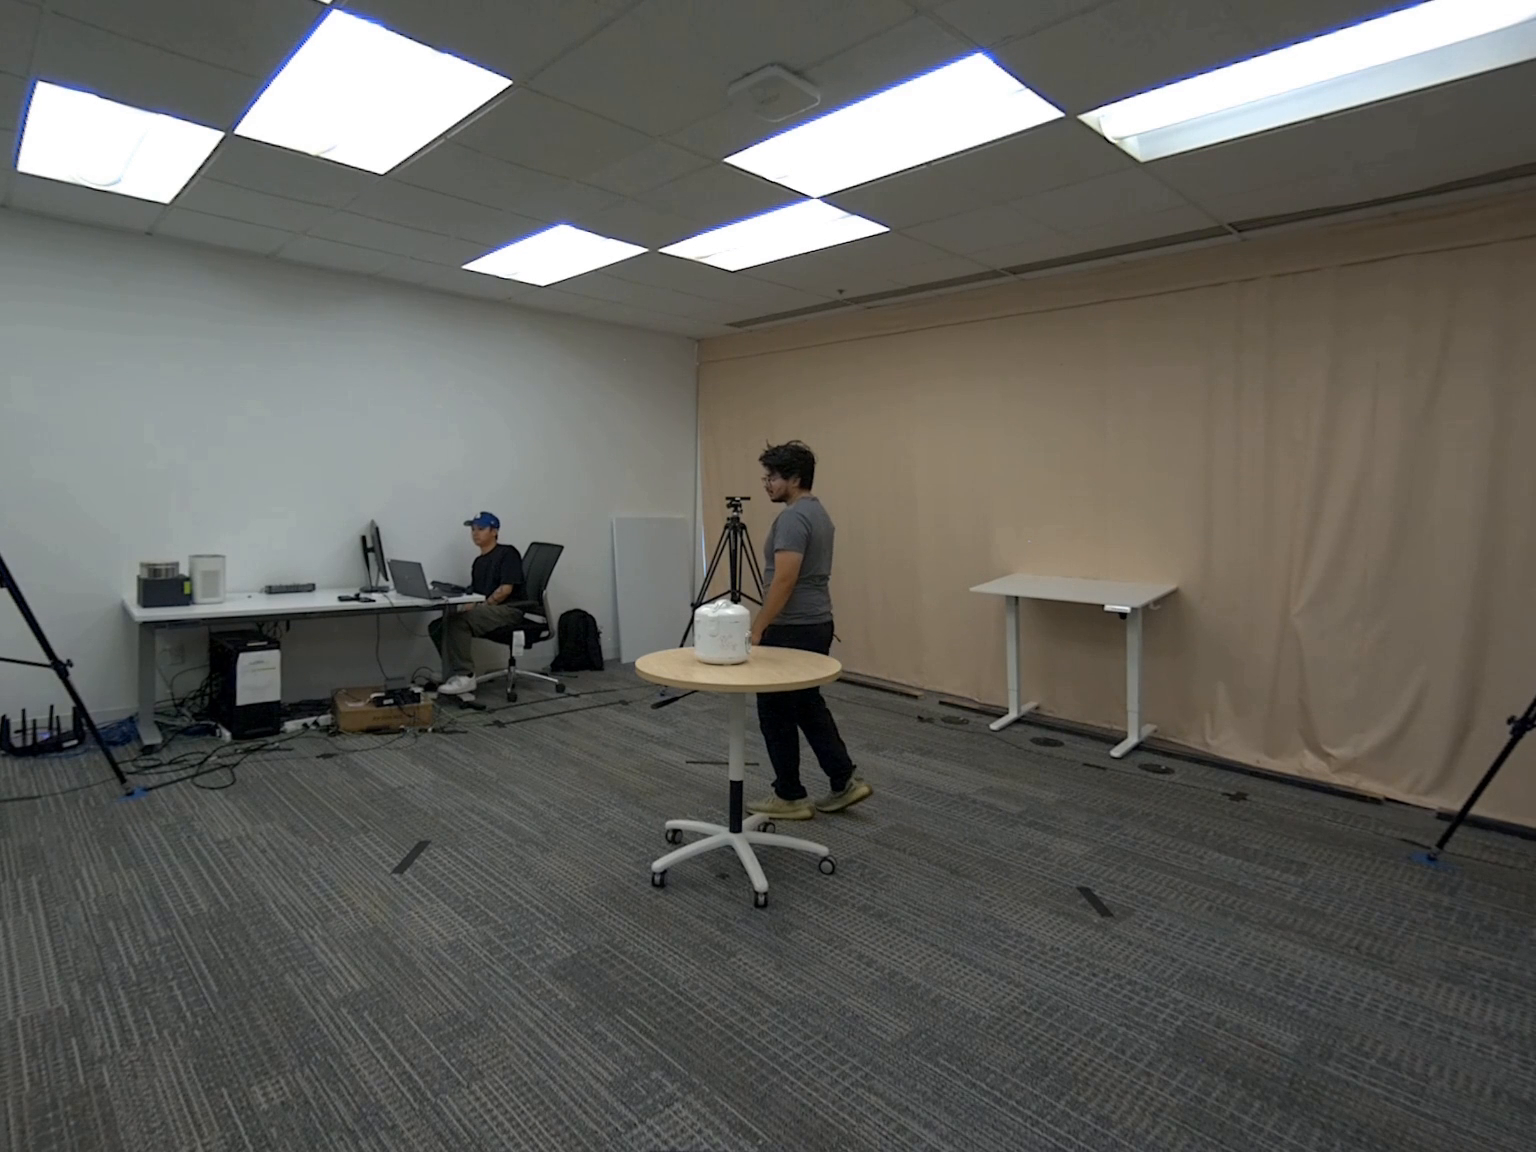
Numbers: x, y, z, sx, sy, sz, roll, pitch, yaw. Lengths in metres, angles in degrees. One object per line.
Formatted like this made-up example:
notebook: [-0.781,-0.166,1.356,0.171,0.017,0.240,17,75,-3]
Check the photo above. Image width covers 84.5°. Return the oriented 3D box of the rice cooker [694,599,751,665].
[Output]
rice cooker: [-0.174,0.204,3.155,0.221,0.232,0.218,2,4,19]
